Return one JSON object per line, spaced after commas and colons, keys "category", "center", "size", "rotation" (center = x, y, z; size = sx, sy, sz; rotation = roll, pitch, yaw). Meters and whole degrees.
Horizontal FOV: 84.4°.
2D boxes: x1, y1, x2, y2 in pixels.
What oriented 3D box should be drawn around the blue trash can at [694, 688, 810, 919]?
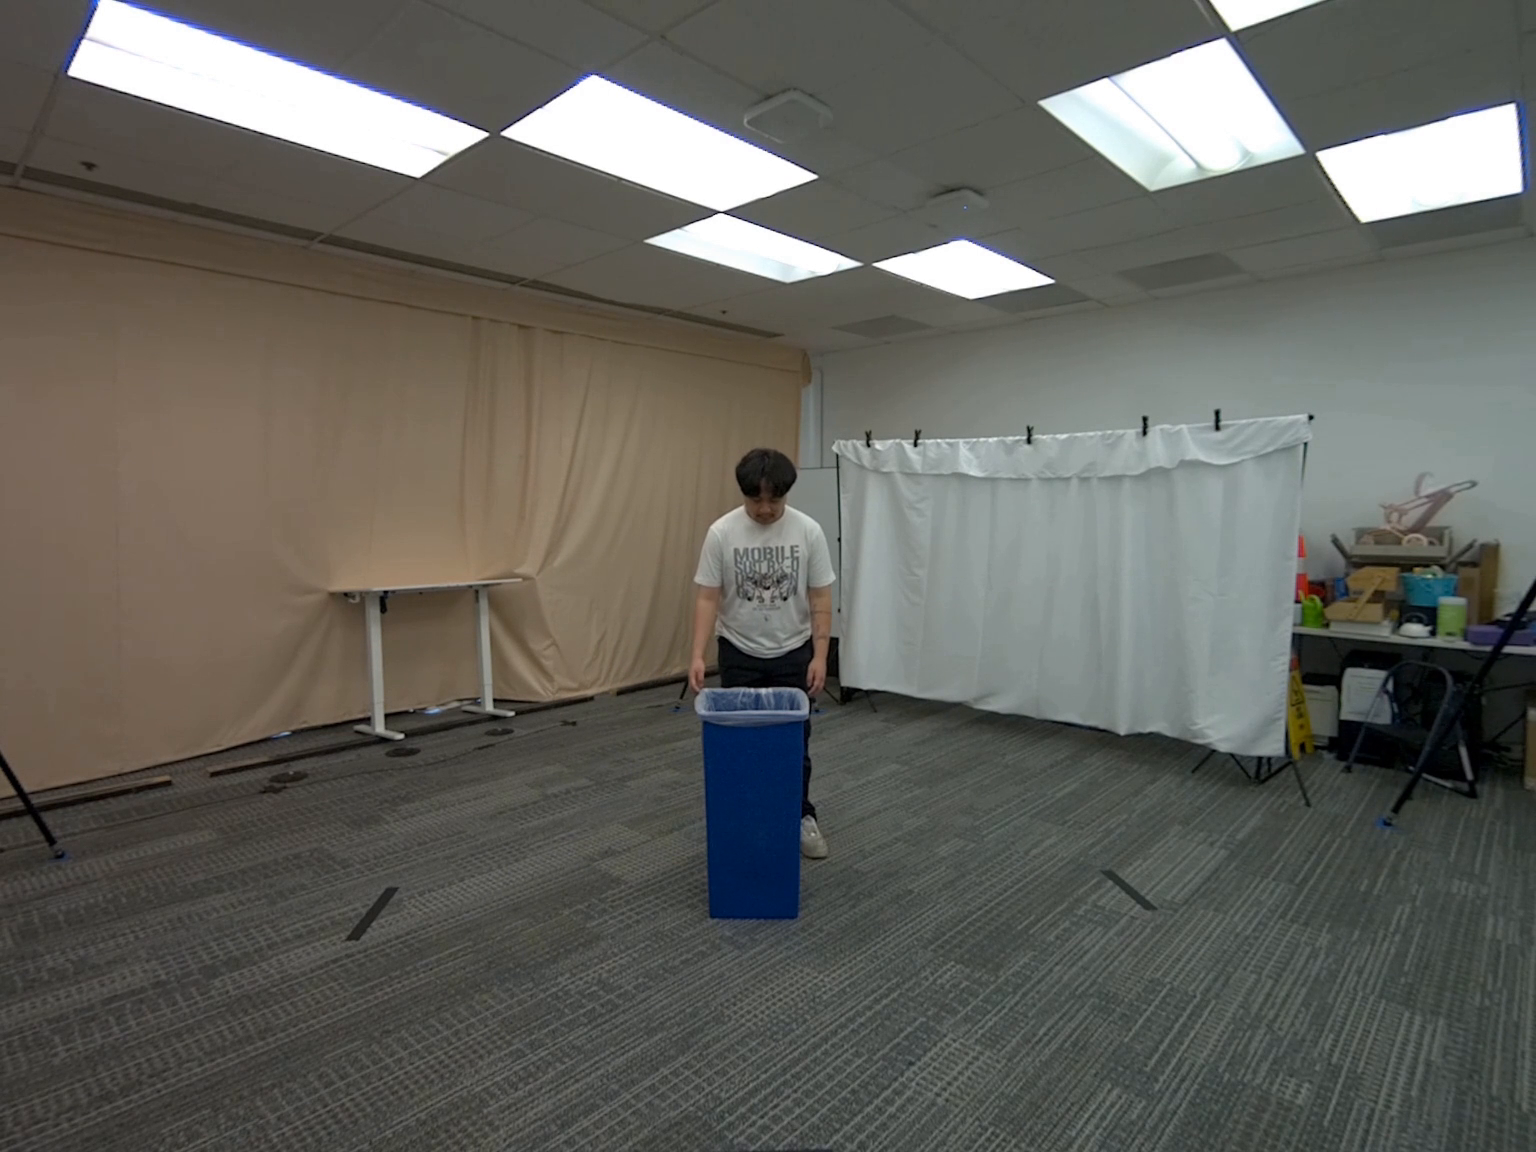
{"category": "blue trash can", "center": [-0.050, 0.786, 2.968], "size": [0.378, 0.712, 0.375], "rotation": [0, 3, -1]}
